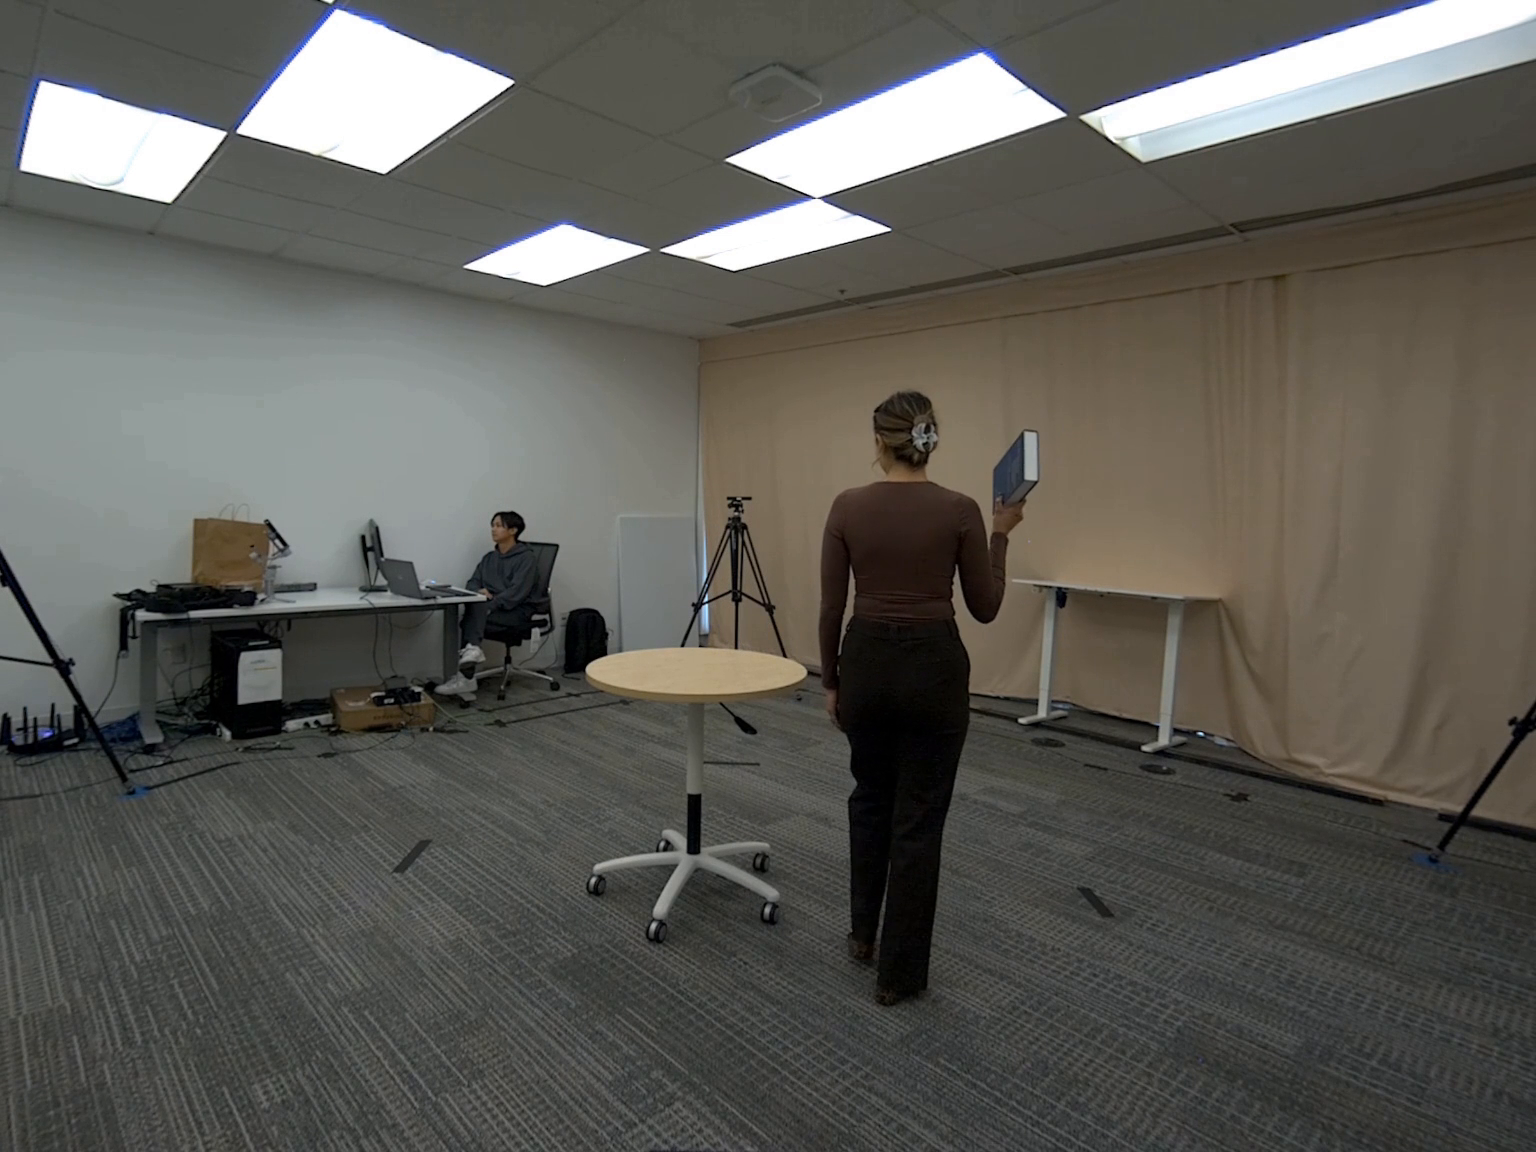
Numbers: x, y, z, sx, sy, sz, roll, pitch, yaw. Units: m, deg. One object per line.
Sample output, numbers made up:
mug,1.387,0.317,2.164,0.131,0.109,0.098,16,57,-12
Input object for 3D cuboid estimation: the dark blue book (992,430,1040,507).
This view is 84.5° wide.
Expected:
dark blue book,0.706,-0.293,2.442,0.045,0.165,0.242,6,-21,-3
